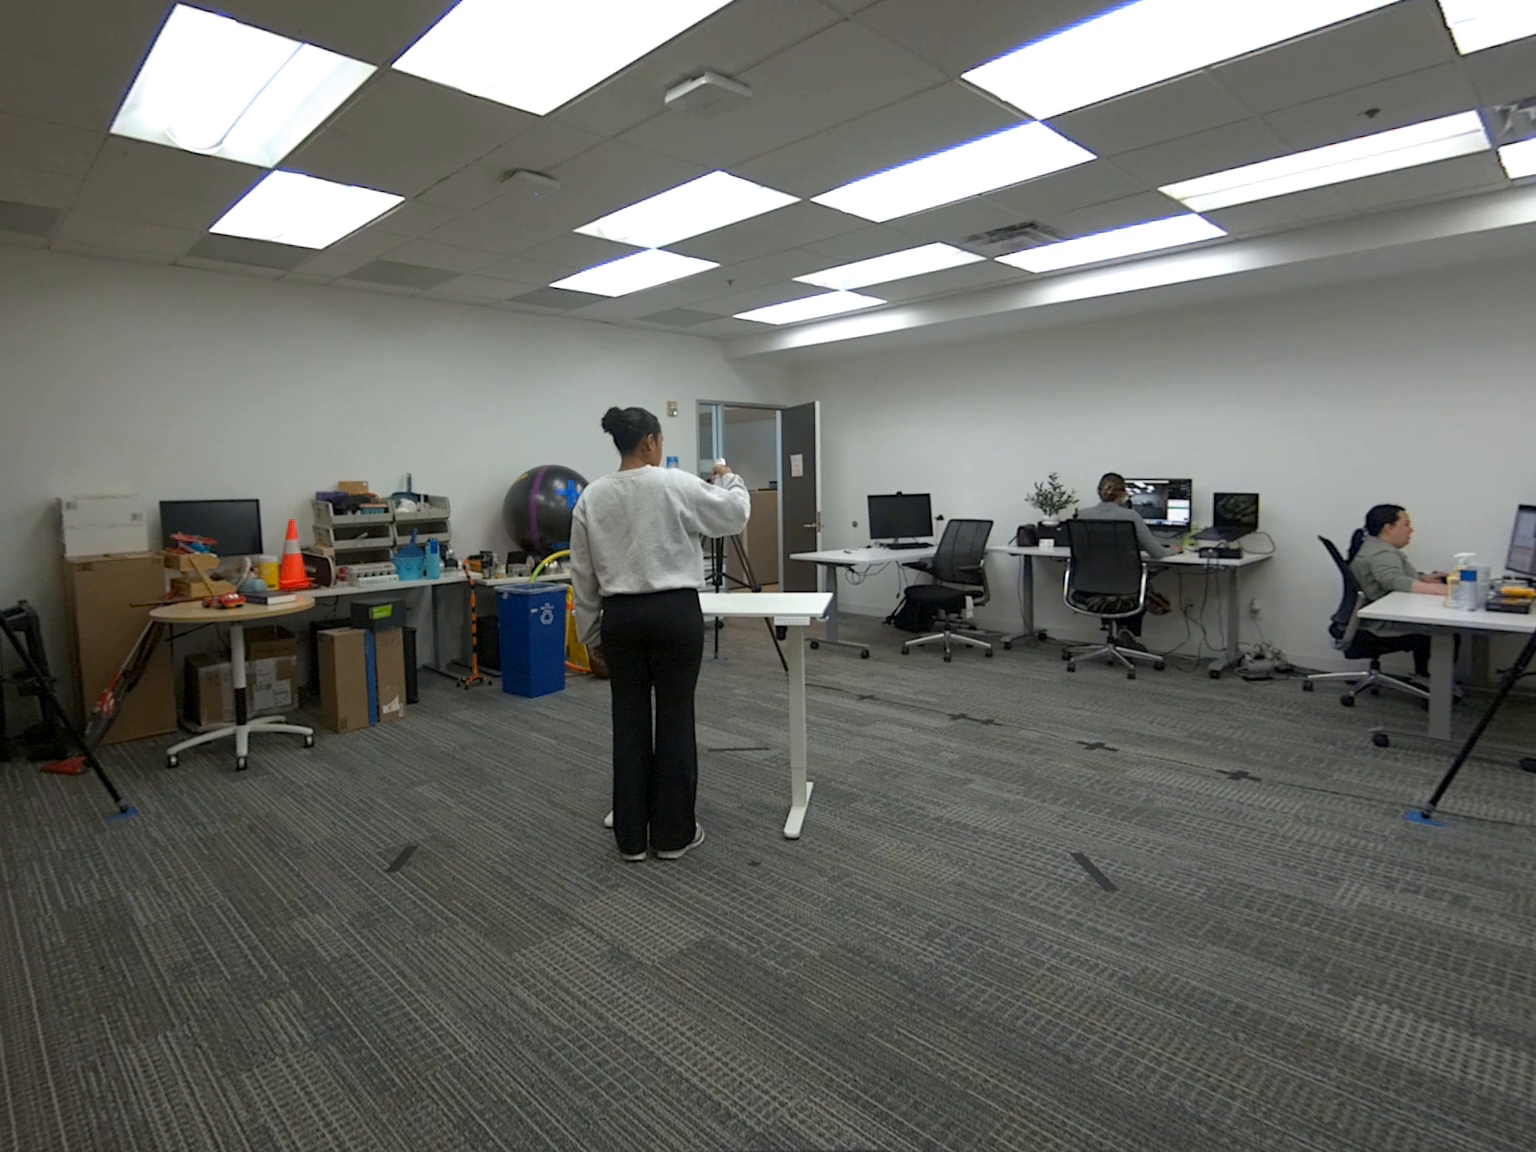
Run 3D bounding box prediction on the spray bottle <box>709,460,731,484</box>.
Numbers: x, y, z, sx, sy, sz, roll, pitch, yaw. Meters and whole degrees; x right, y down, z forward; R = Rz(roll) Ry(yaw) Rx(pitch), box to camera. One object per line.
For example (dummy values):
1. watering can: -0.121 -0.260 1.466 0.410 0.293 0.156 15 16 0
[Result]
1. spray bottle: -0.190 -0.322 3.444 0.087 0.298 0.089 2 -3 2
